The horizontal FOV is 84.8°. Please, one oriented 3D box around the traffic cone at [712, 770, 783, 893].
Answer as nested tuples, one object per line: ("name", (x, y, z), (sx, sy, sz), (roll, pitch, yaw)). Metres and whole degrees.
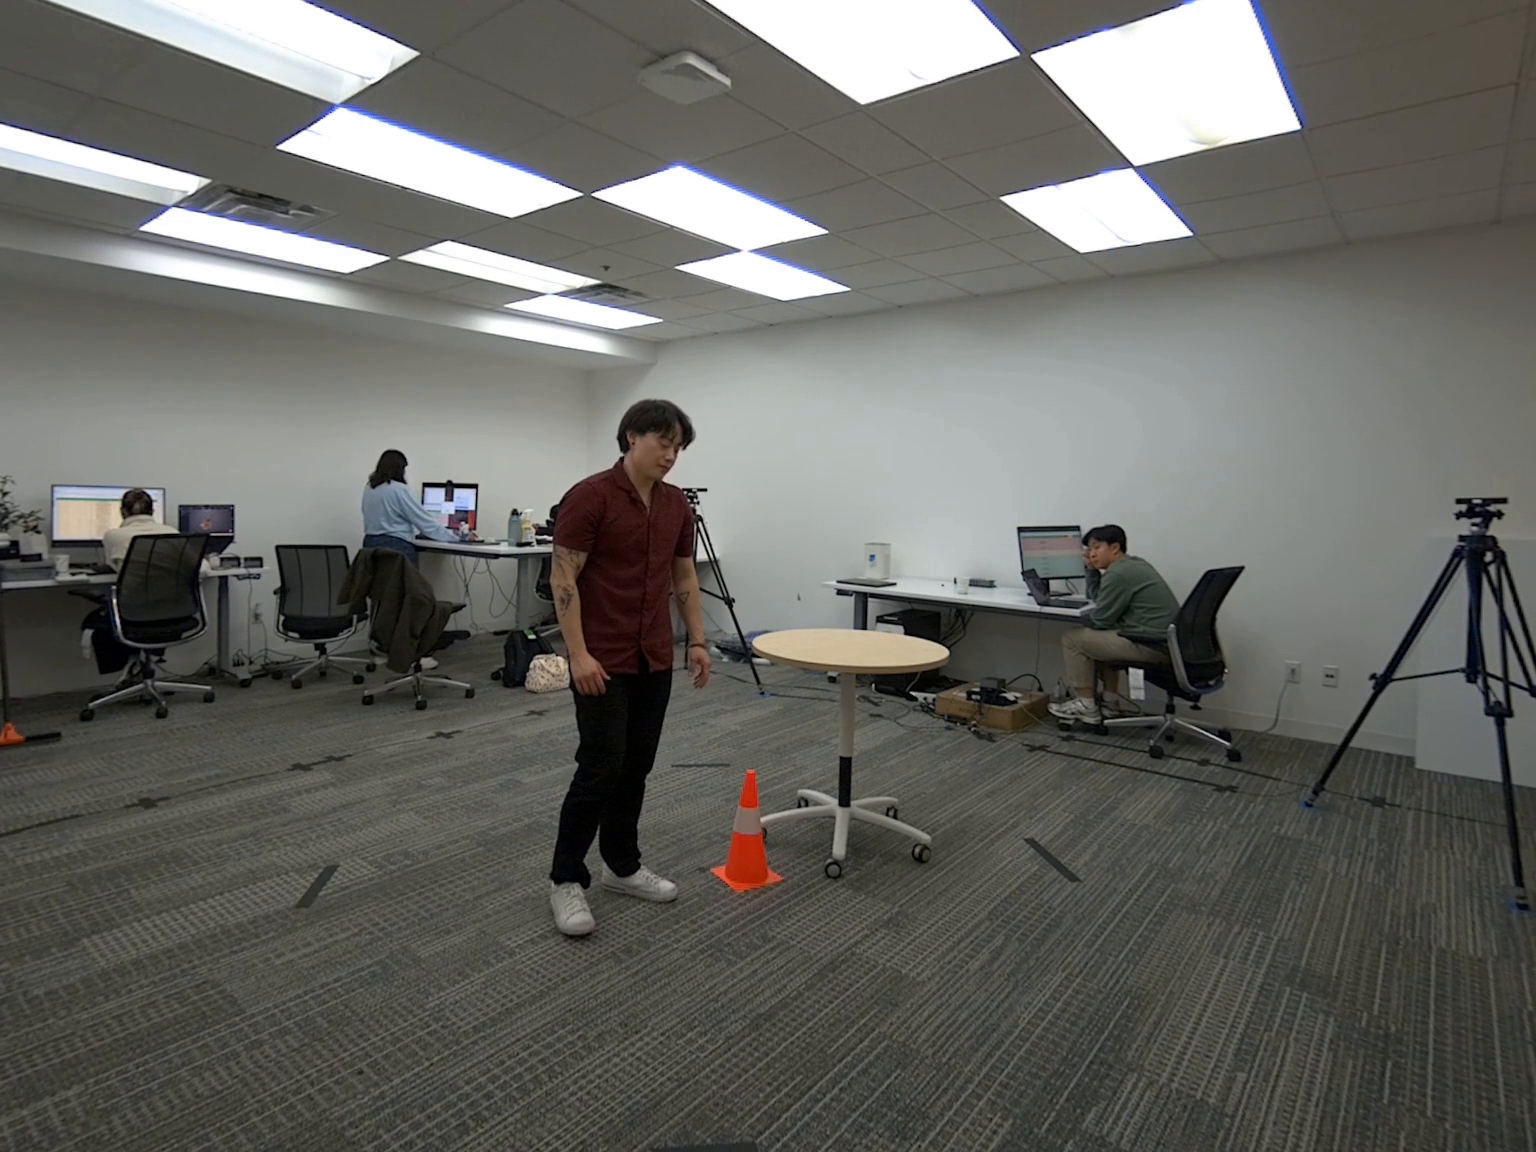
("traffic cone", (-0.082, 0.896, 3.056), (0.198, 0.382, 0.211), (0, 4, -30))
